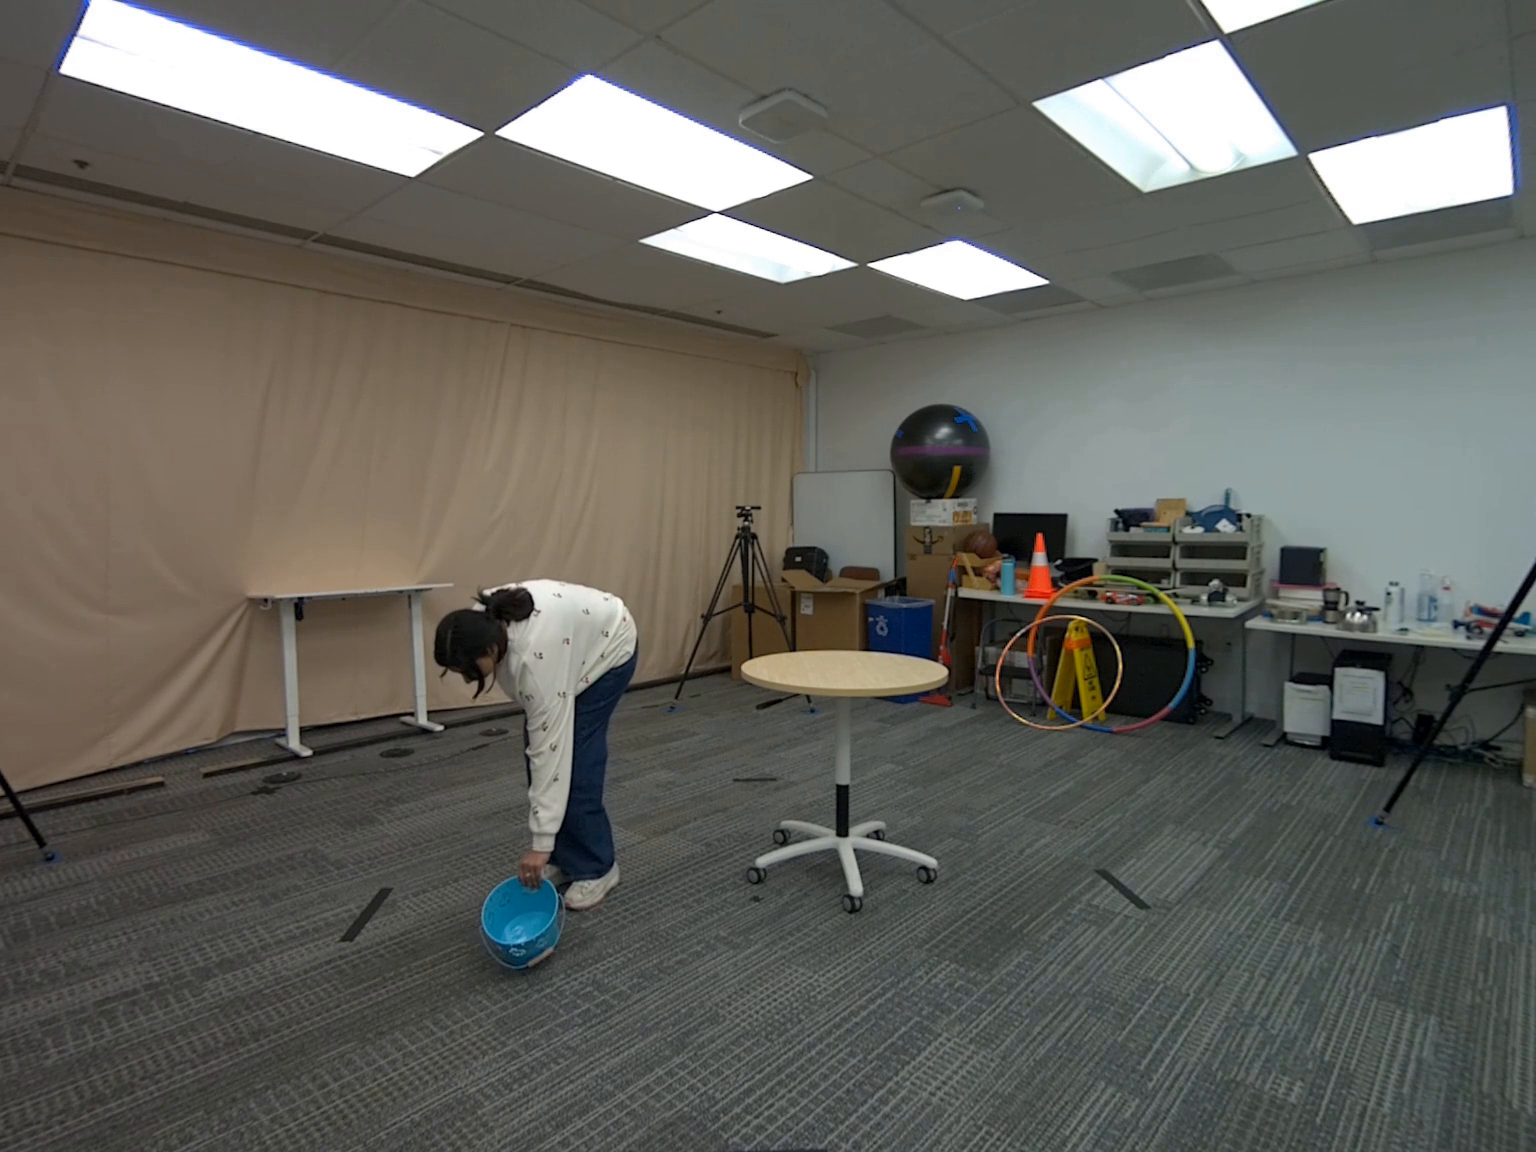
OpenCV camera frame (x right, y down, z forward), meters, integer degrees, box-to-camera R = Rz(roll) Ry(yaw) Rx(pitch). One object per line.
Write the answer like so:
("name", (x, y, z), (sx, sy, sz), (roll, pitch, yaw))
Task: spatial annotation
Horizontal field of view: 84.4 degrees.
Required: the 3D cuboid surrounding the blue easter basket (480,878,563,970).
("blue easter basket", (-0.751, 1.051, 2.570), (0.244, 0.153, 0.248), (-3, 31, 0))
